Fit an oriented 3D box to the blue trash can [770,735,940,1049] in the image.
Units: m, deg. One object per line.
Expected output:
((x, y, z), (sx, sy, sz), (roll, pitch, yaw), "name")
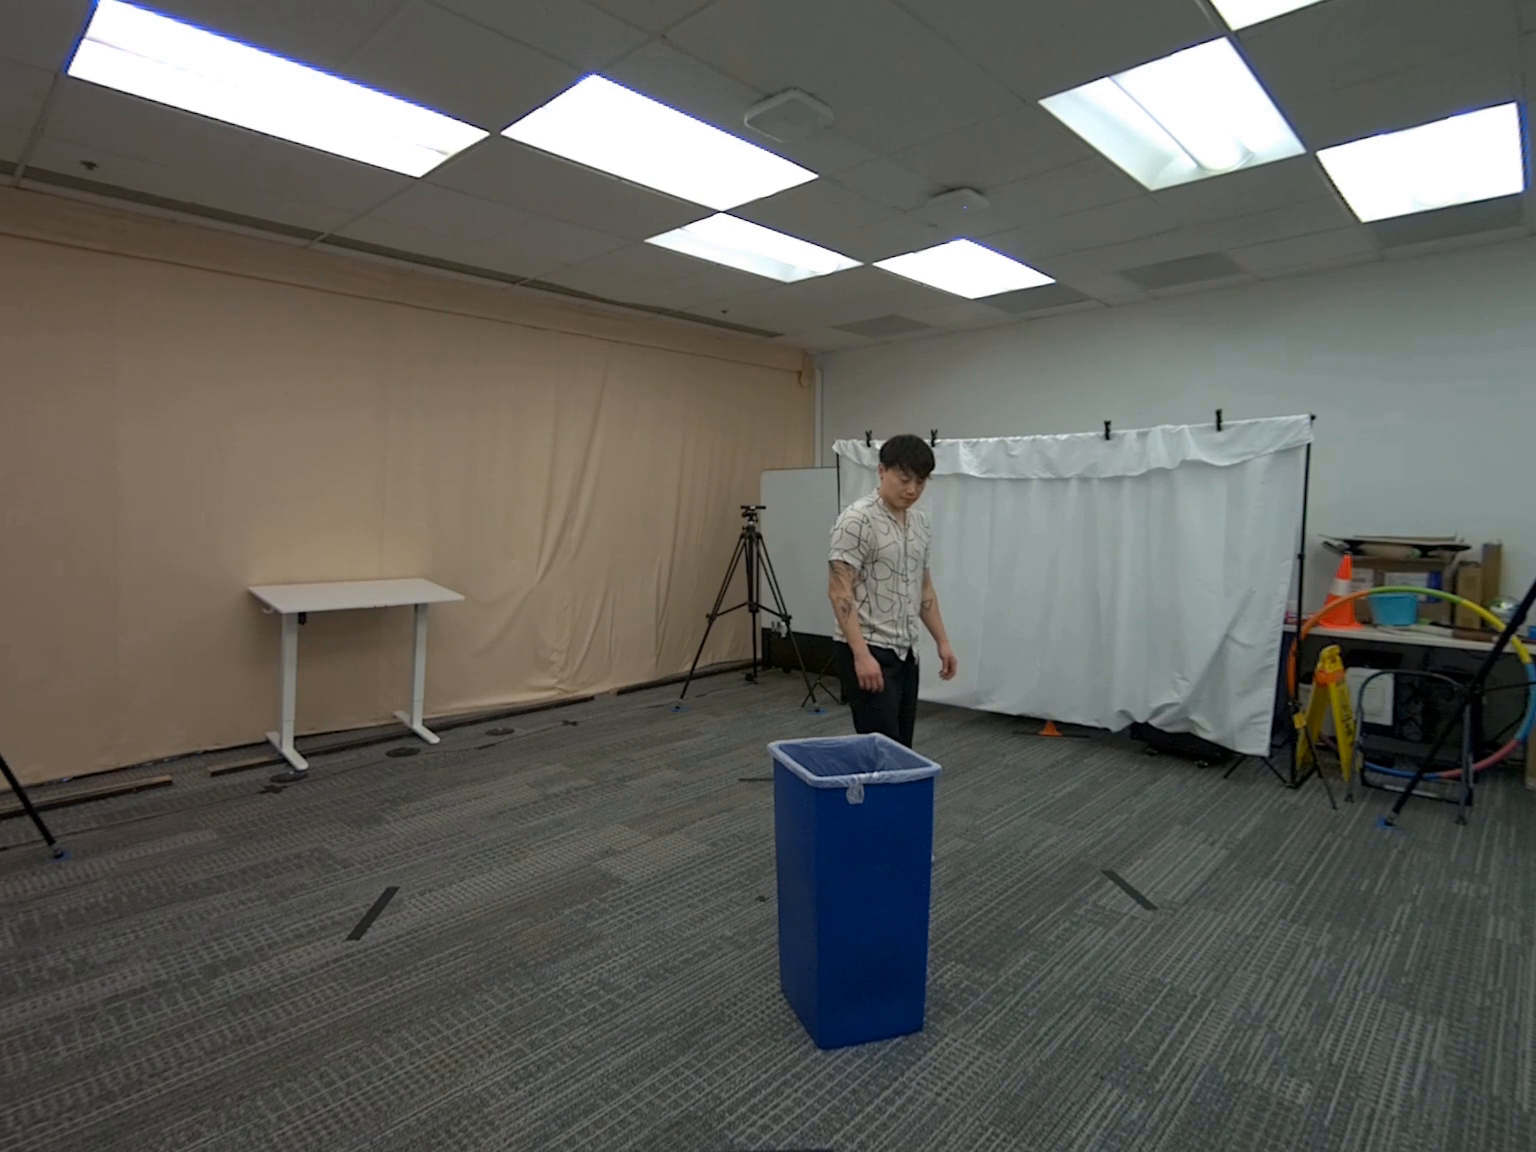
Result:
((0.222, 0.844, 2.314), (0.371, 0.712, 0.381), (0, 3, -18), "blue trash can")
